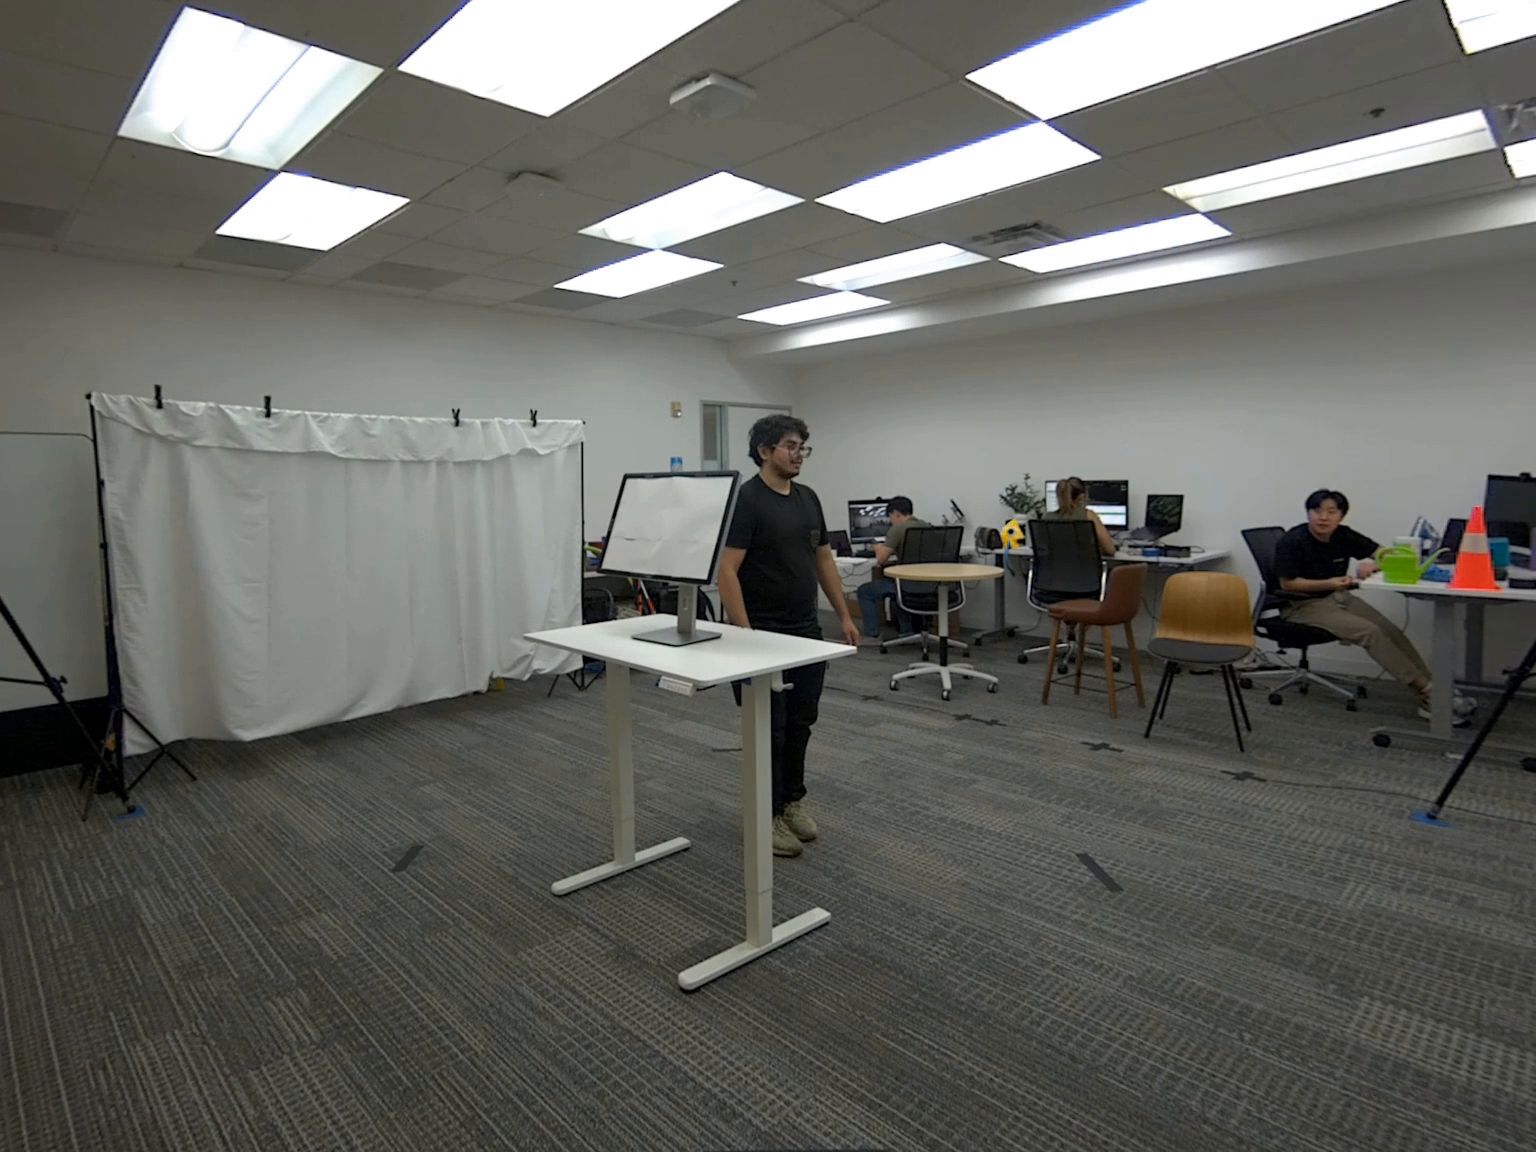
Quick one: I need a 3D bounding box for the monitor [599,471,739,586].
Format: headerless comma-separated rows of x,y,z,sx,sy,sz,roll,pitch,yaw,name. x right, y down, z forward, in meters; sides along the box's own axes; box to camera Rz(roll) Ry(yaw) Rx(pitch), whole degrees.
-0.286,-0.064,2.801,0.583,0.556,0.203,3,-4,43,monitor
